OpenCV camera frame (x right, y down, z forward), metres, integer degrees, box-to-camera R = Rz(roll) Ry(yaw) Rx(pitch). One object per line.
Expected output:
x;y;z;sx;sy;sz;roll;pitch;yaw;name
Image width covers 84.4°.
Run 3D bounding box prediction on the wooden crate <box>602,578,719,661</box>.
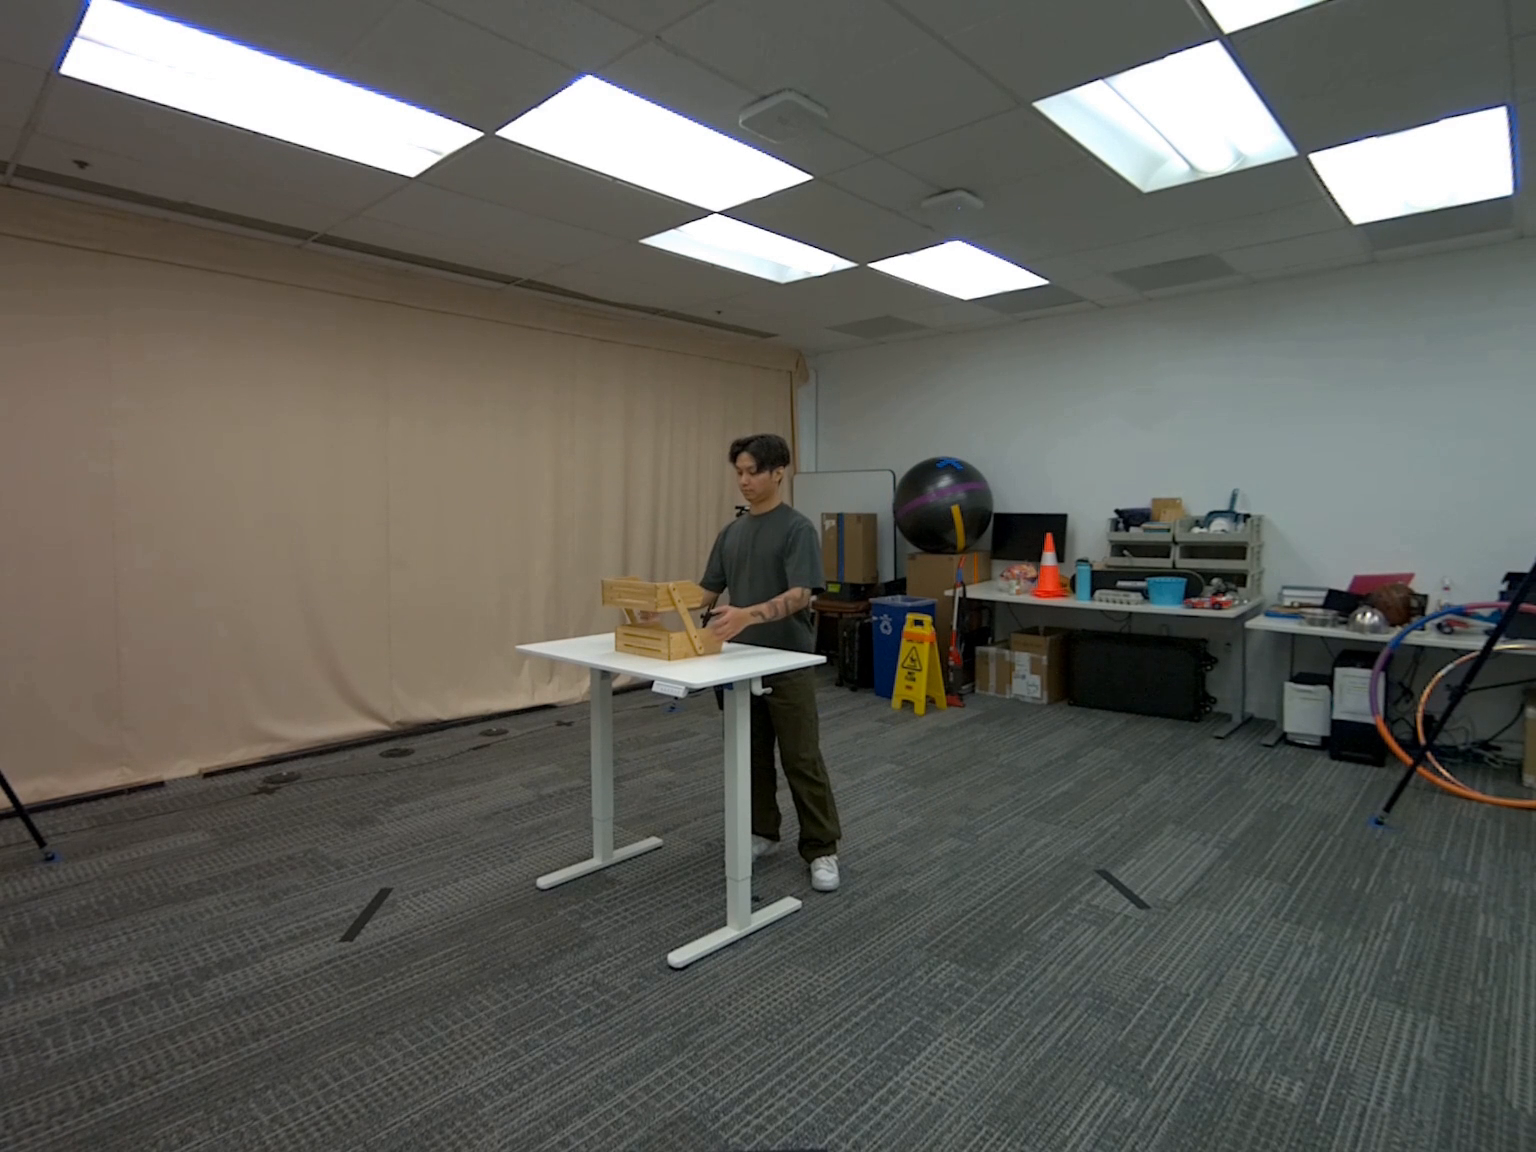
-0.366;0.136;2.942;0.335;0.273;0.293;2;5;44;wooden crate
